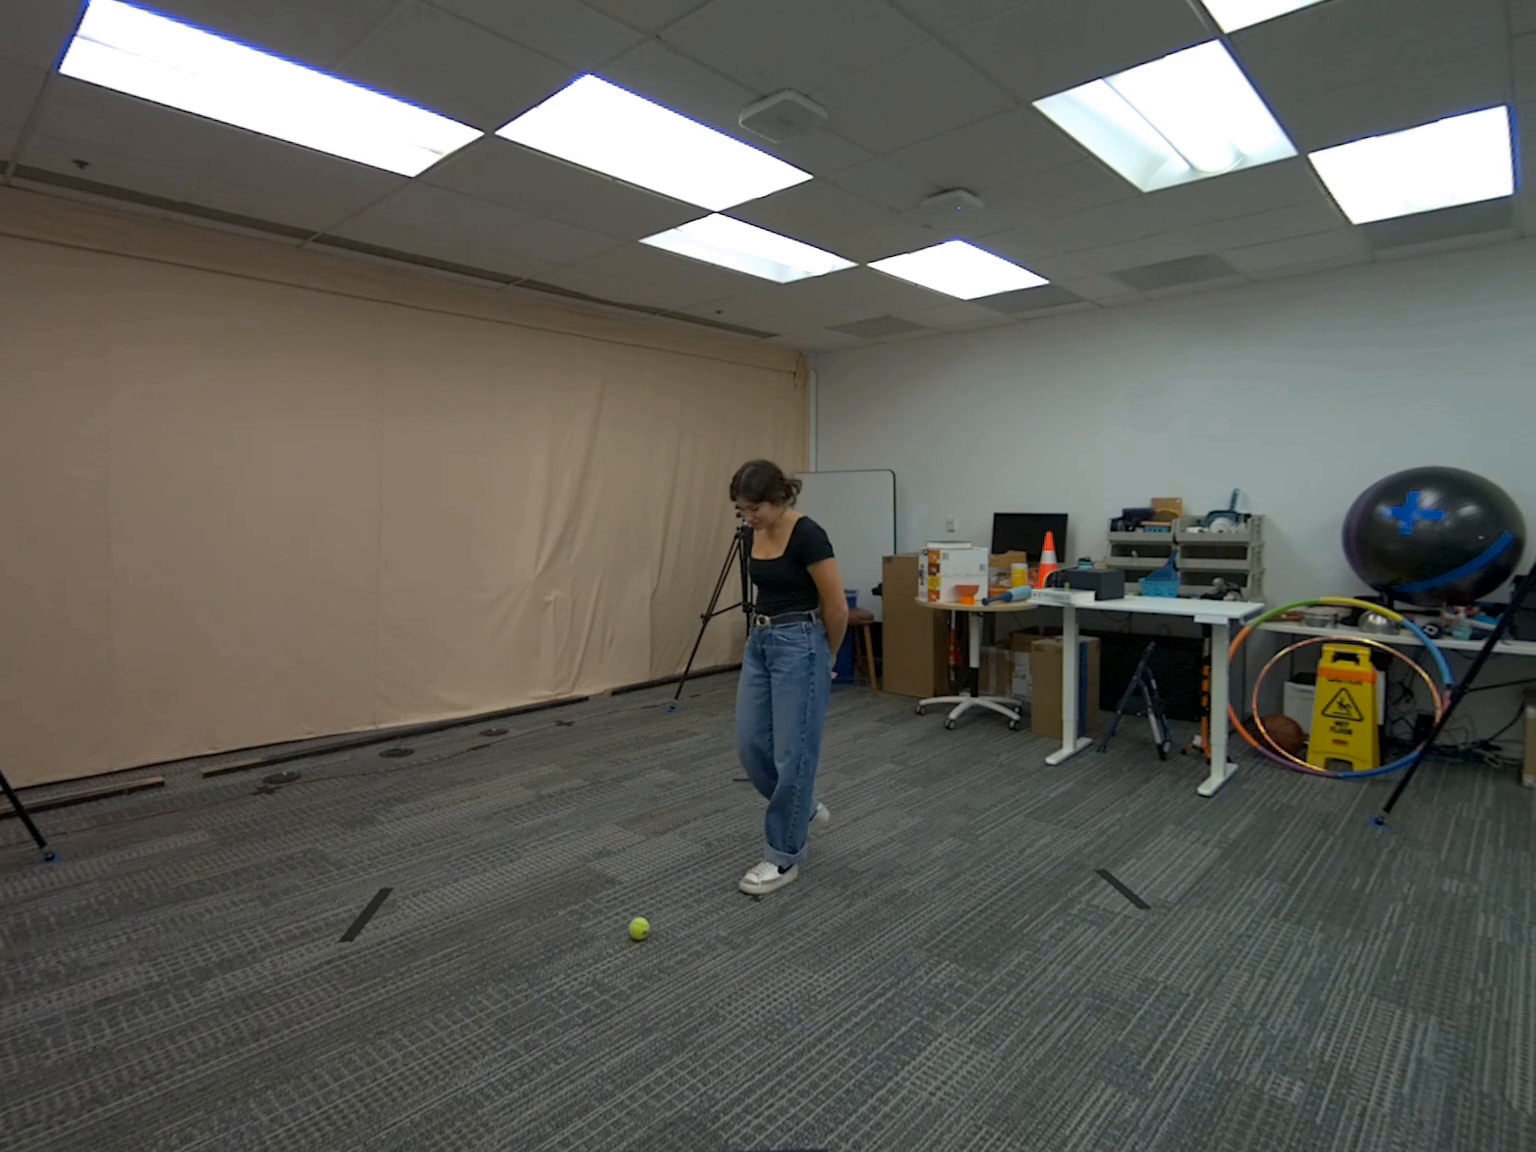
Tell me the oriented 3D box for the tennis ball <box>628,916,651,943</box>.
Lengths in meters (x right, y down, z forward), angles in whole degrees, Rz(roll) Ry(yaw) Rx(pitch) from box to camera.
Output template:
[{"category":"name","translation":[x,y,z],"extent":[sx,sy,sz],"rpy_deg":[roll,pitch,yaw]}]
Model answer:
[{"category":"tennis ball","translation":[-0.412,1.116,2.701],"extent":[0.066,0.066,0.067],"rpy_deg":[0,4,-2]}]
